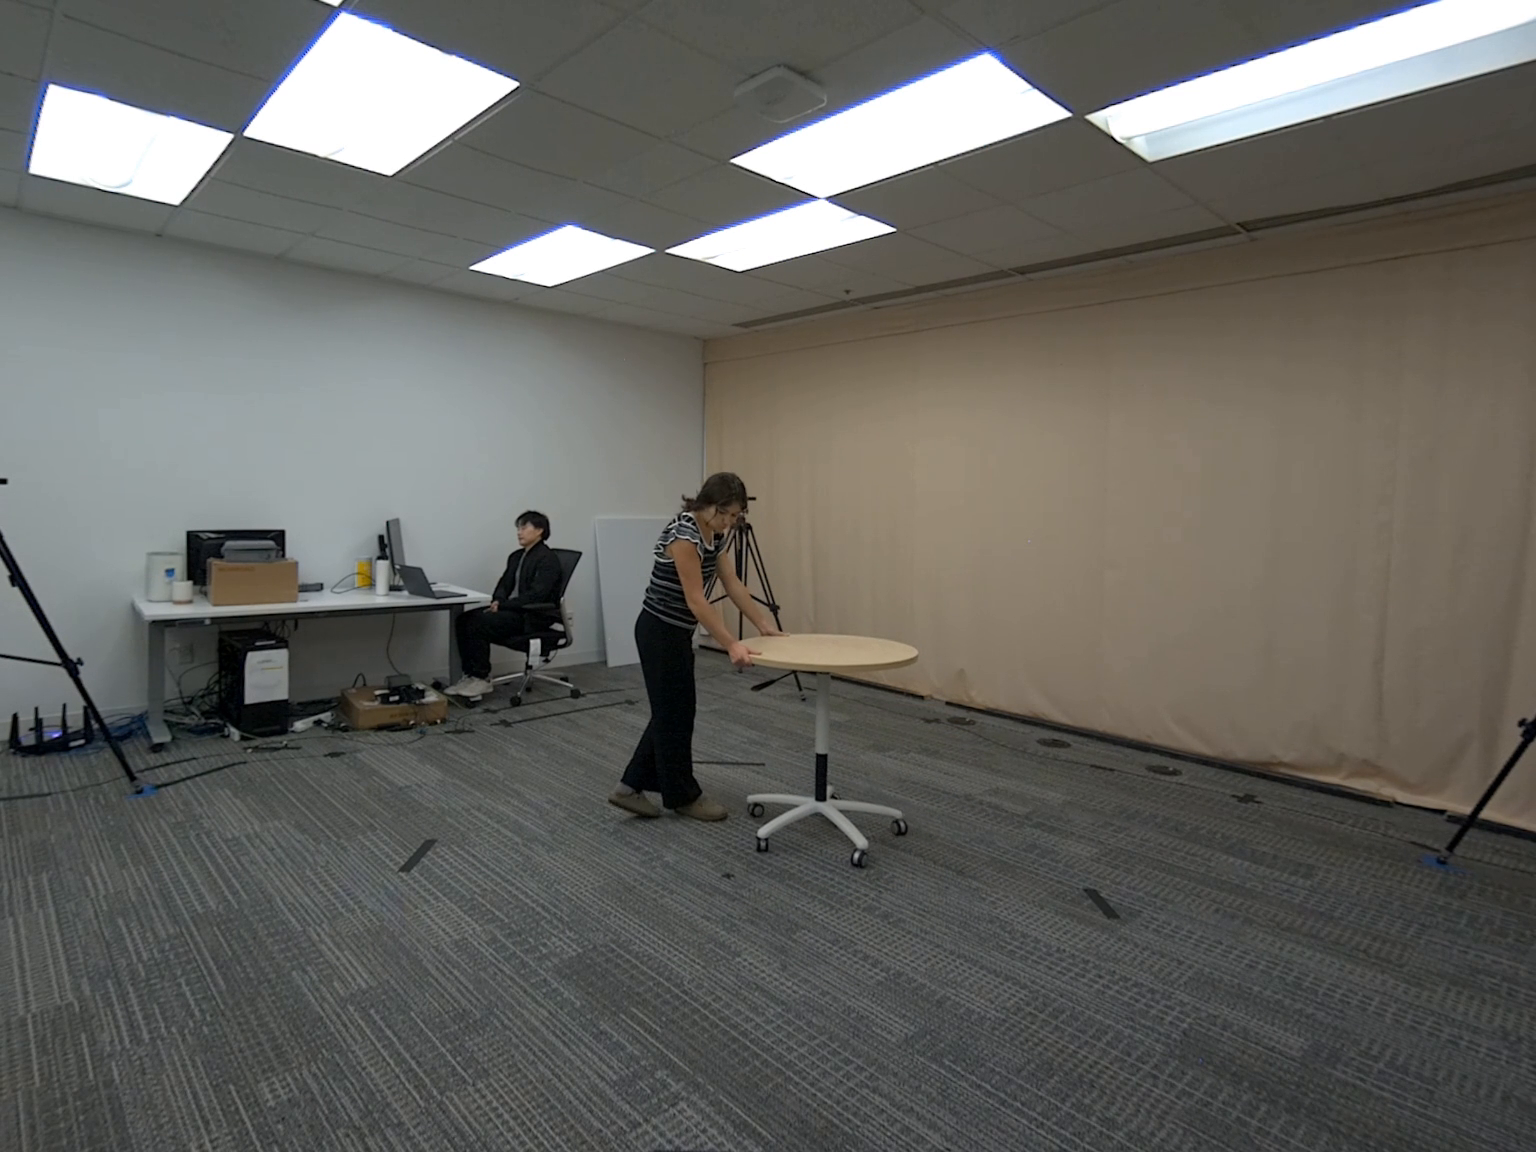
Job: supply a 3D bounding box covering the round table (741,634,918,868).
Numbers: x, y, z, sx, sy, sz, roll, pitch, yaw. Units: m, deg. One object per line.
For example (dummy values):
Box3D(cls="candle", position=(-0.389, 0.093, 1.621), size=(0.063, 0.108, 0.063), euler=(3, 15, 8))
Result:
Box3D(cls="round table", position=(0.224, 0.693, 3.506), size=(0.763, 0.792, 0.766), euler=(1, 3, -1))
